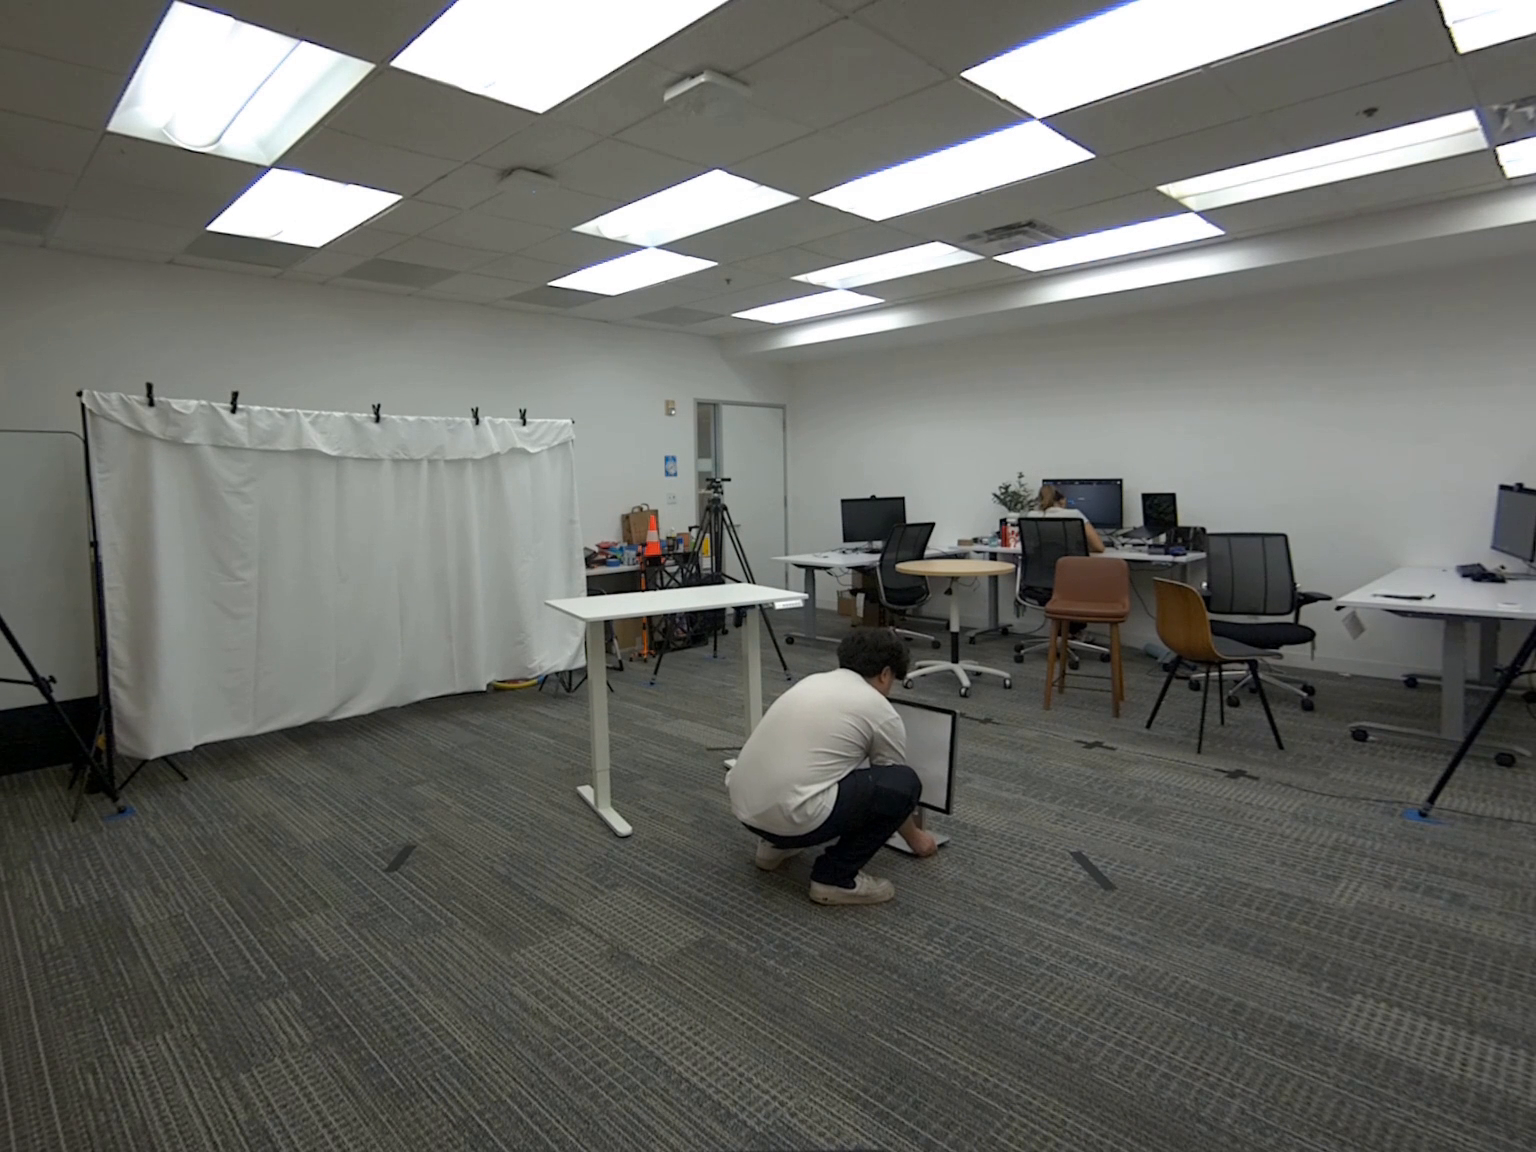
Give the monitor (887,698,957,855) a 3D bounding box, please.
[{"bbox_3d":[0.541,0.741,3.276,0.204,0.556,0.580,3,-3,-36],"label":"monitor"}]
